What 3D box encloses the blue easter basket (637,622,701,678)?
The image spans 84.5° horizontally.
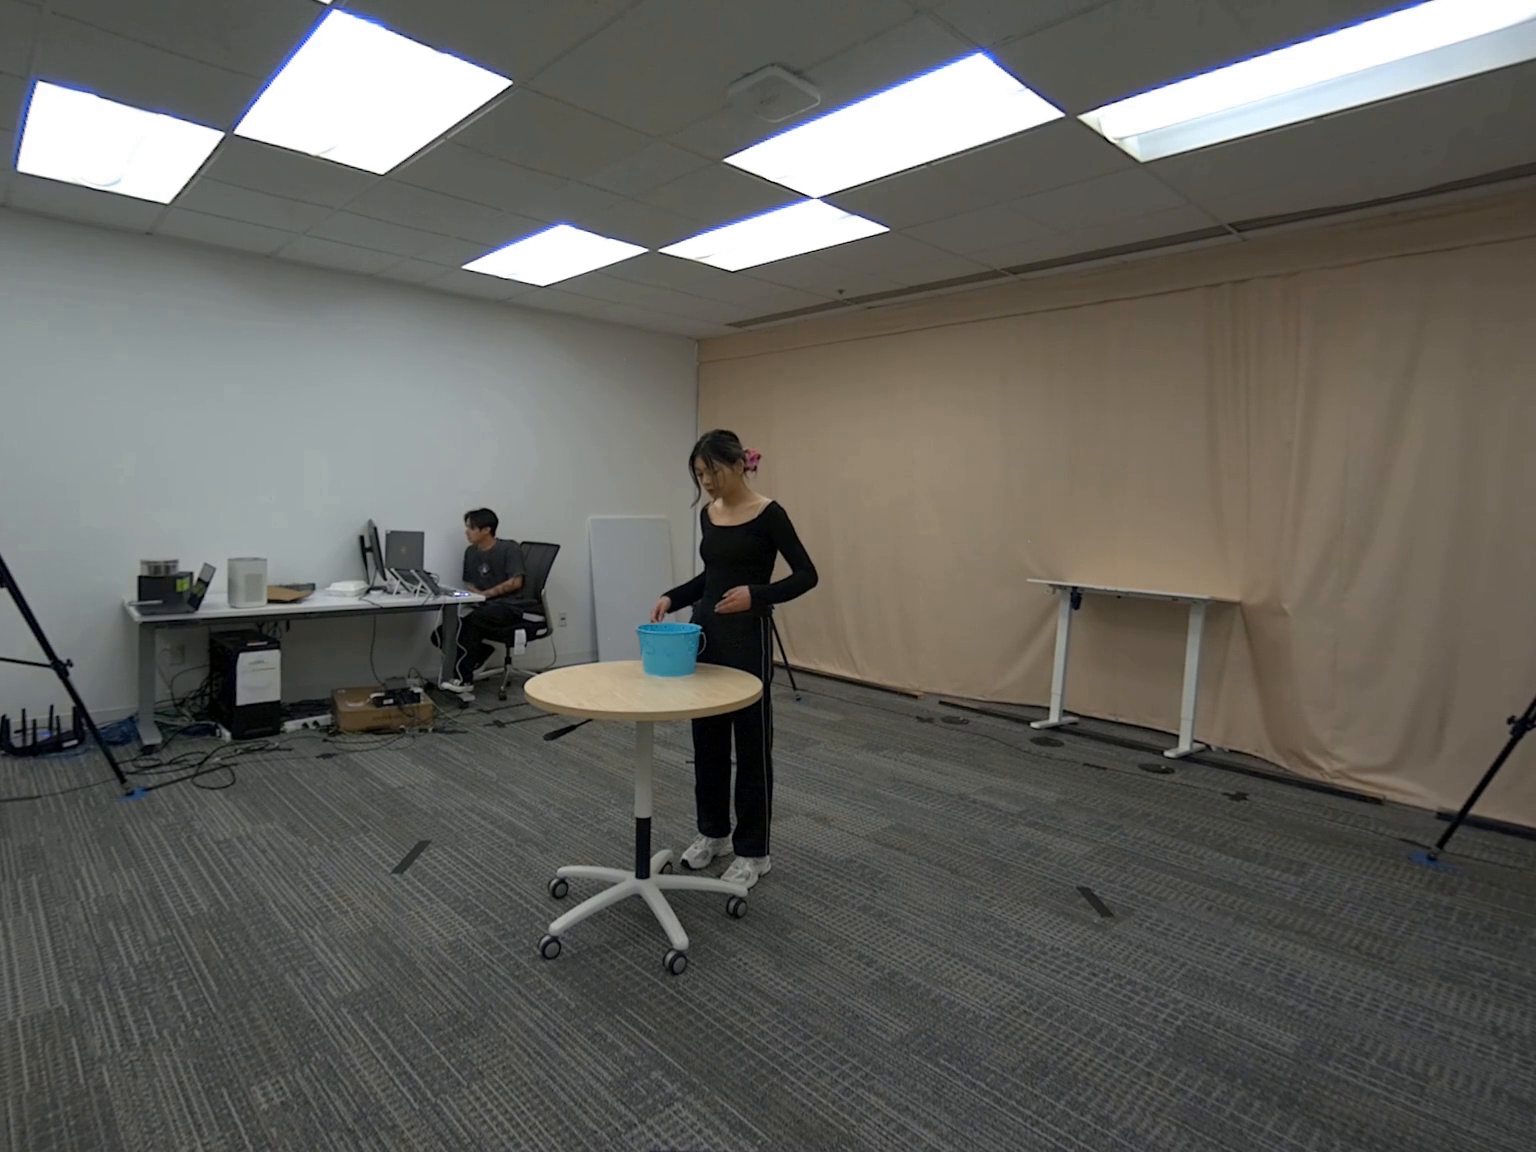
[{"bbox_3d":[-0.351,0.256,2.932,0.243,0.155,0.244,0,5,-1],"label":"blue easter basket"}]
